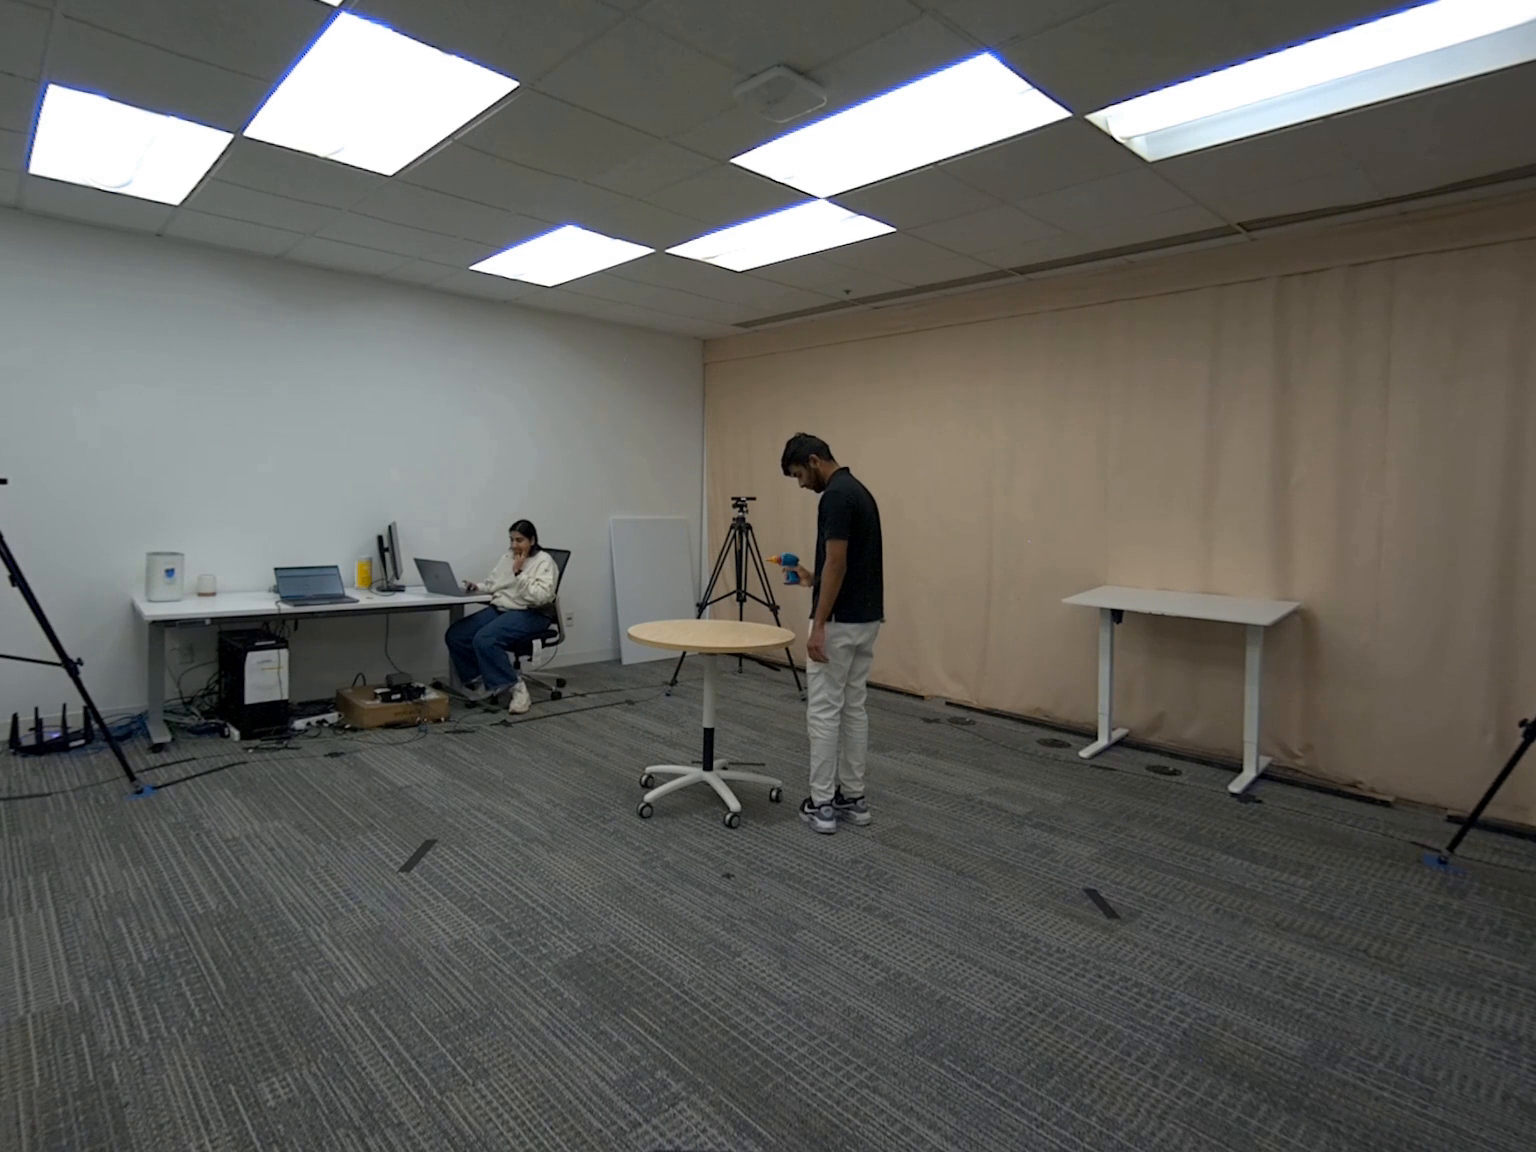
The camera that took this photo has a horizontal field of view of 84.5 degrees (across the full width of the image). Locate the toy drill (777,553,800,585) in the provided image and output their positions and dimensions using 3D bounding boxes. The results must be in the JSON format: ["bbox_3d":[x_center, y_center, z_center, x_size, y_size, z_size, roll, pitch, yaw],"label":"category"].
[{"bbox_3d":[0.085,-0.032,3.859,0.169,0.148,0.061,-8,-13,-8],"label":"toy drill"}]
